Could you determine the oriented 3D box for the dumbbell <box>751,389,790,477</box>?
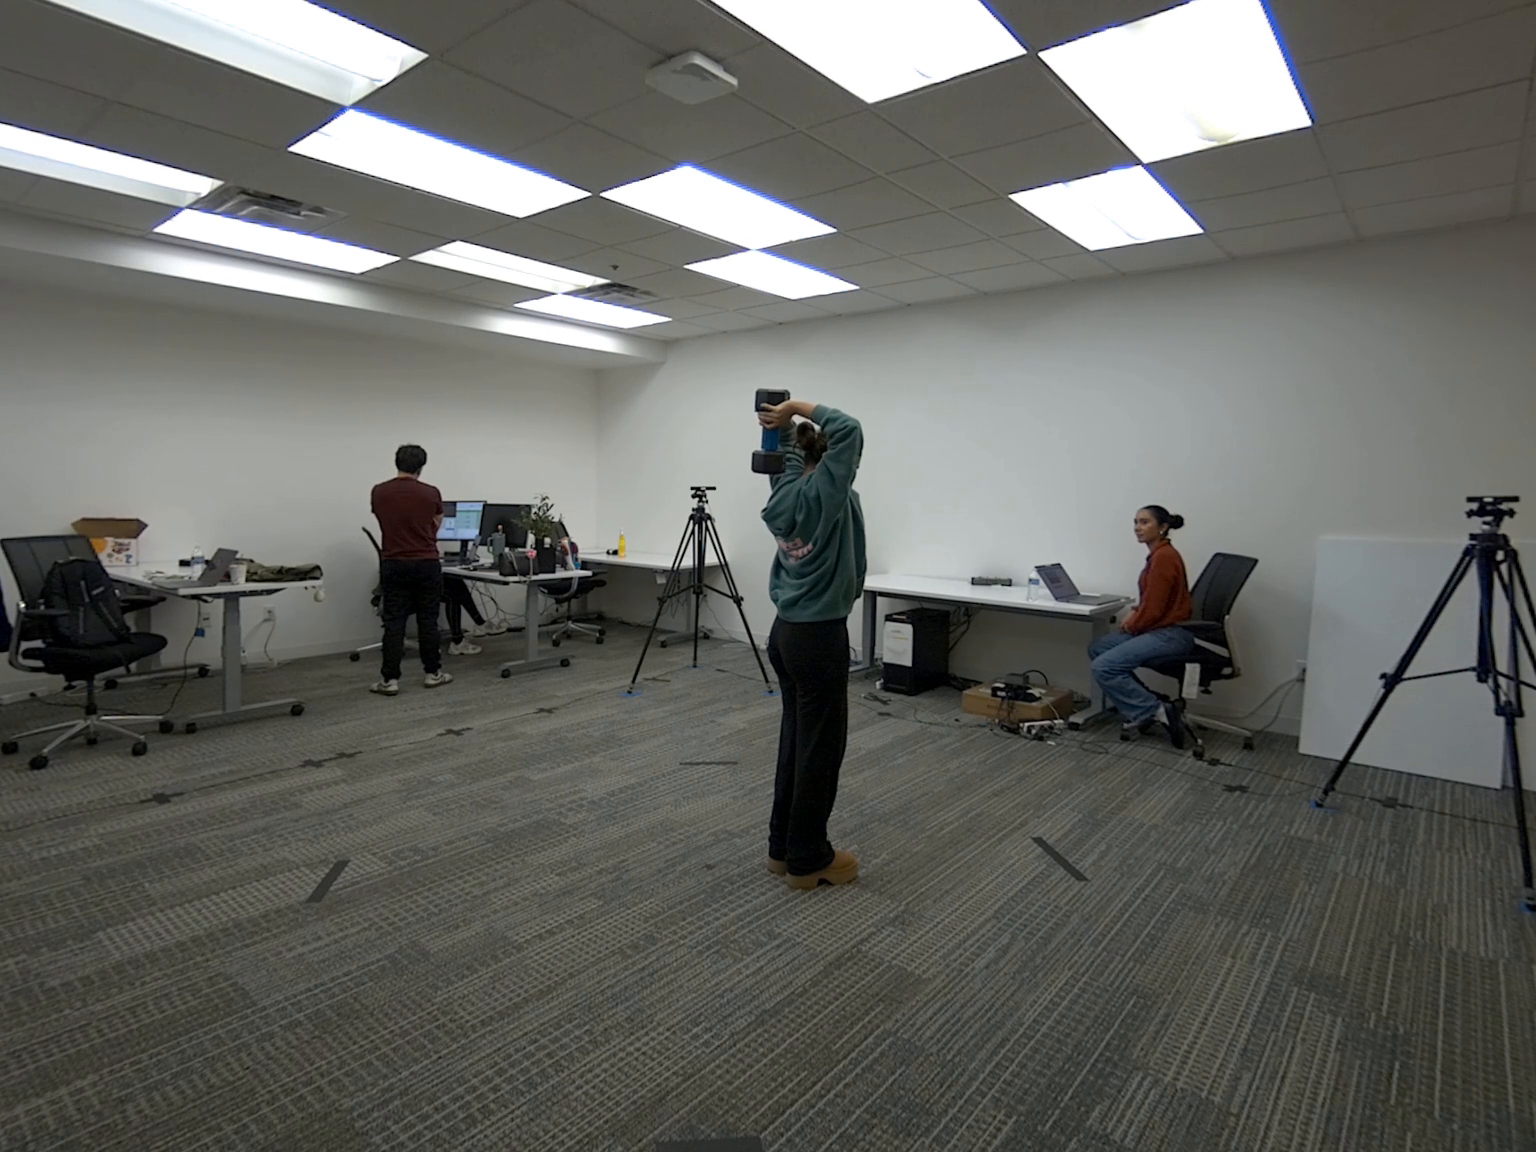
[{"bbox_3d":[0.006,-0.506,2.949,0.121,0.291,0.111,2,8,-13],"label":"dumbbell"}]
